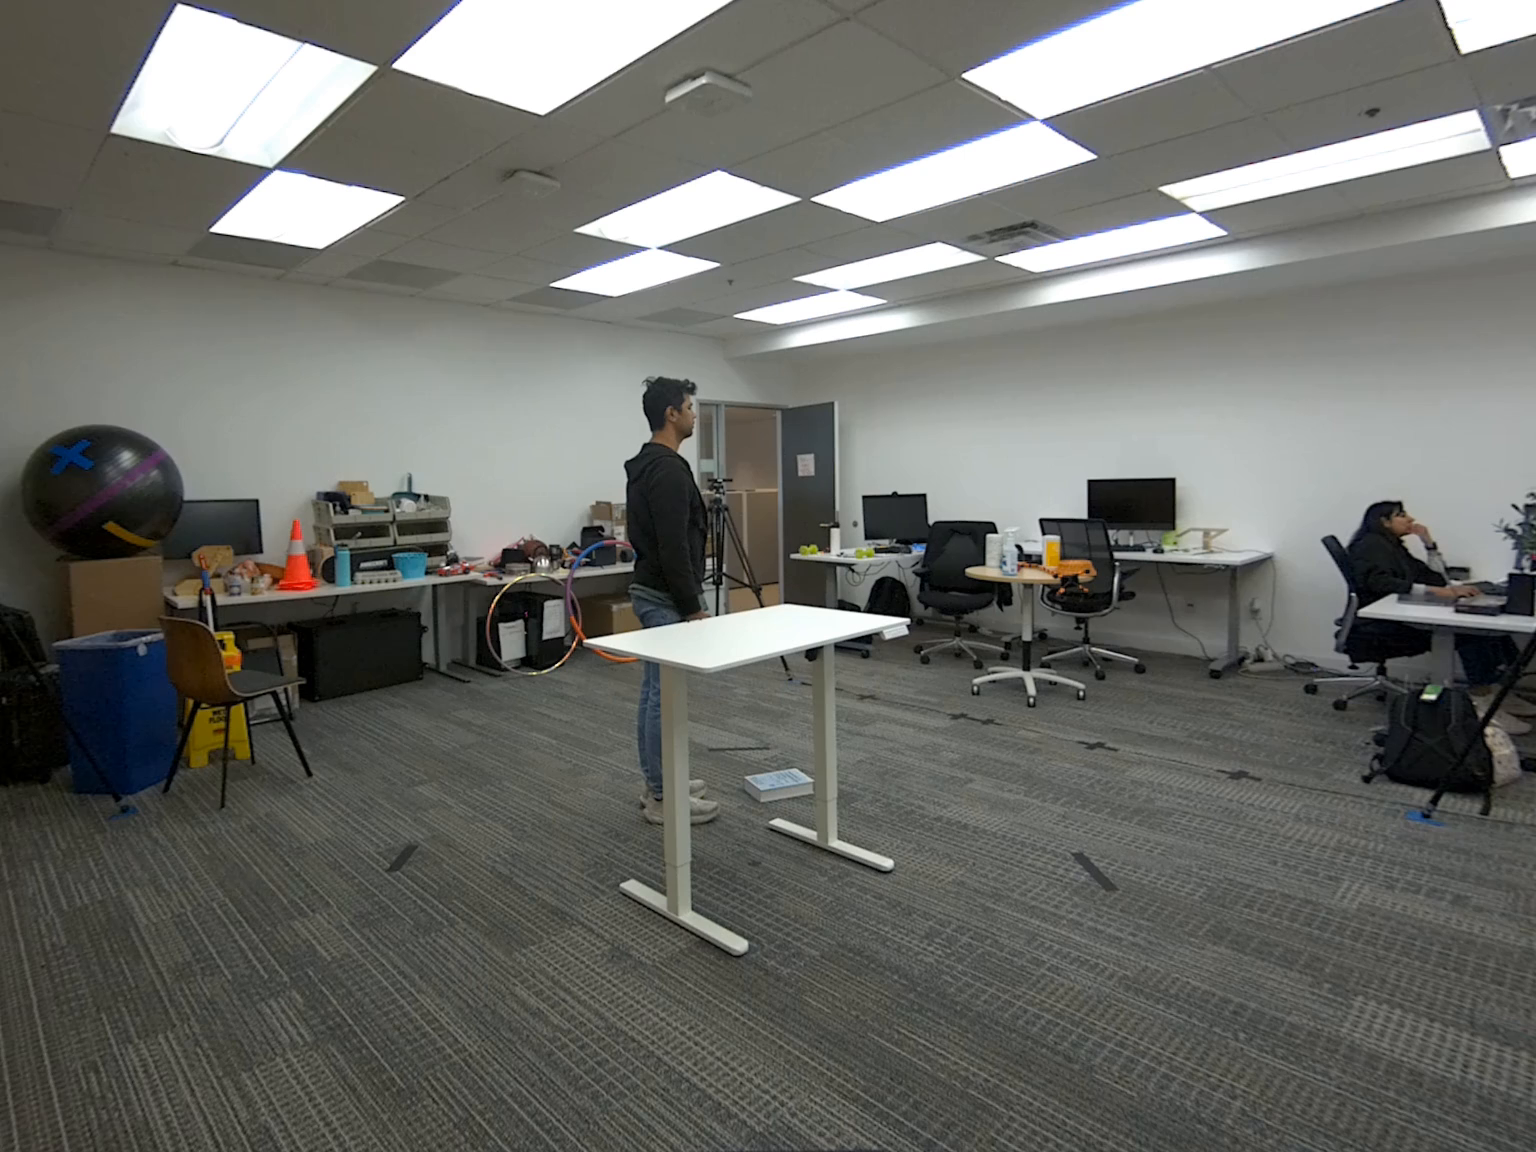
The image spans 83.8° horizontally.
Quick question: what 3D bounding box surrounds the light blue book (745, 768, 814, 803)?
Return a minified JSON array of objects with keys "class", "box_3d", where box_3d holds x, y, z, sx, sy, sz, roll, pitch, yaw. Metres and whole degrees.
[{"class":"light blue book","box_3d":[0.045,0.929,3.810,0.256,0.059,0.196,-4,7,-23]}]
